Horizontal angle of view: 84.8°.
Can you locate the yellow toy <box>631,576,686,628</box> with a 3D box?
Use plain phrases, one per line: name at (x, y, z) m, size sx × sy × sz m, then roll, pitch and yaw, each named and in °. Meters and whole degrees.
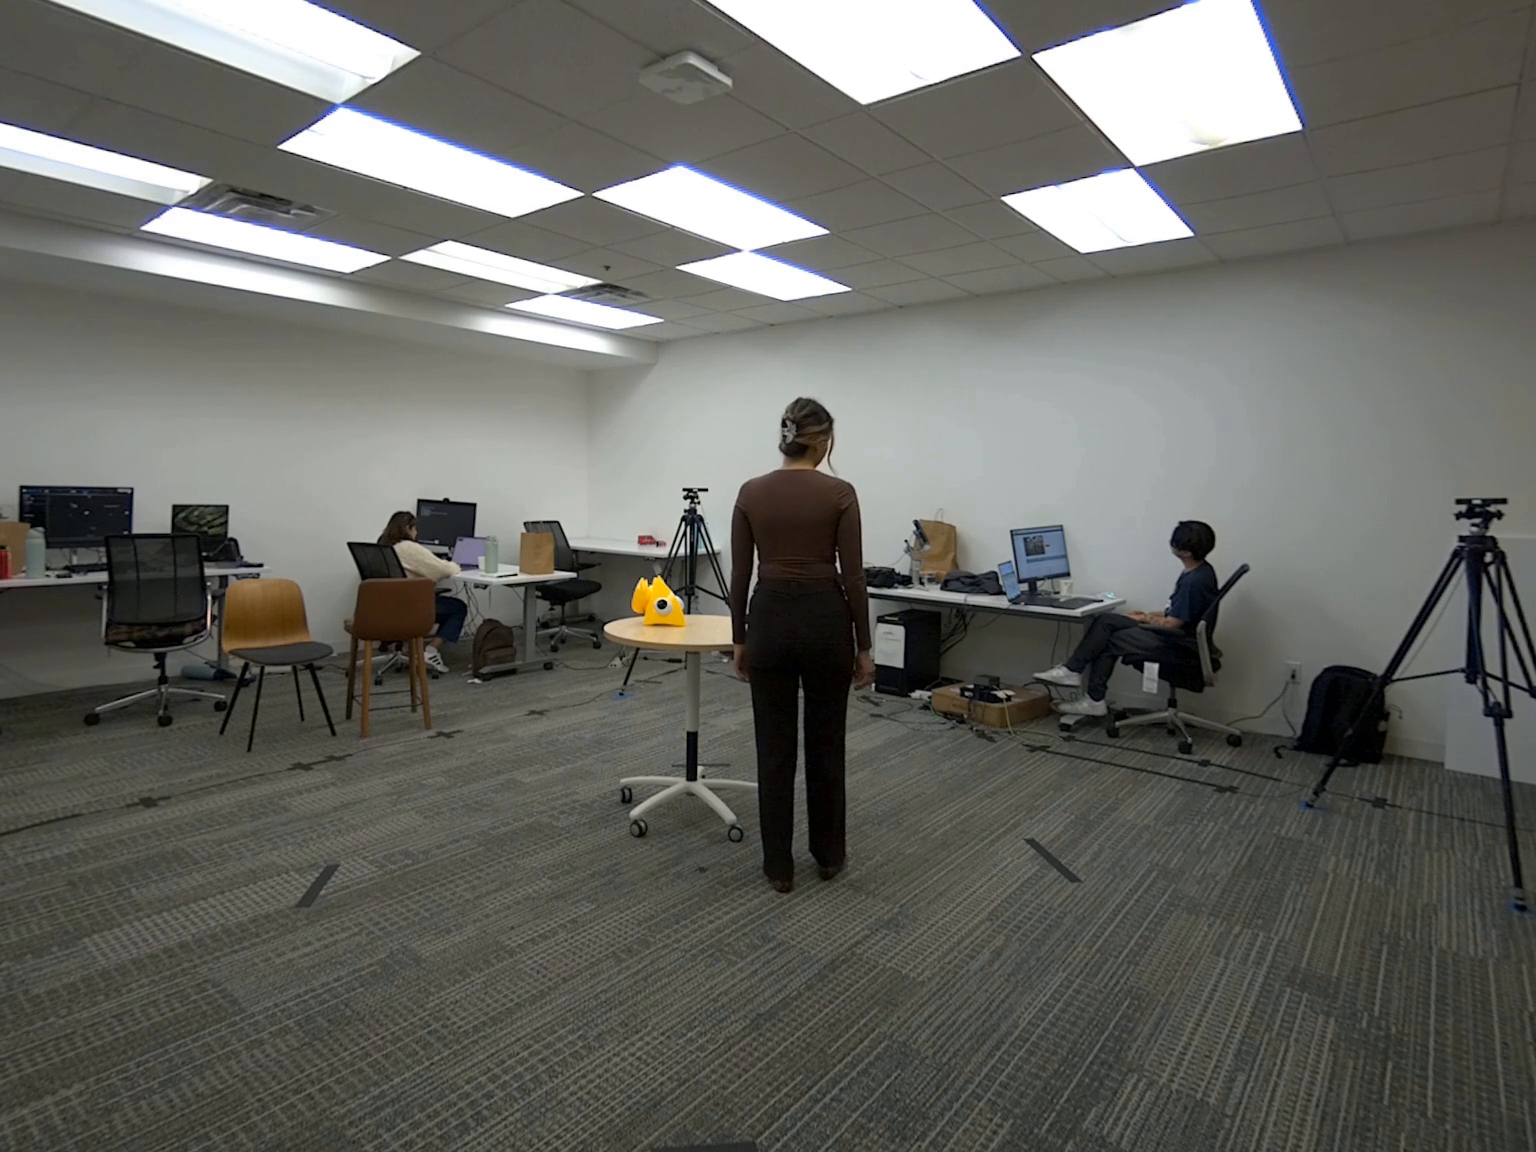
yellow toy at (-0.453, 0.122, 3.717) m, size 0.238 × 0.191 × 0.200 m, roll 19°, pitch 13°, yaw 27°
